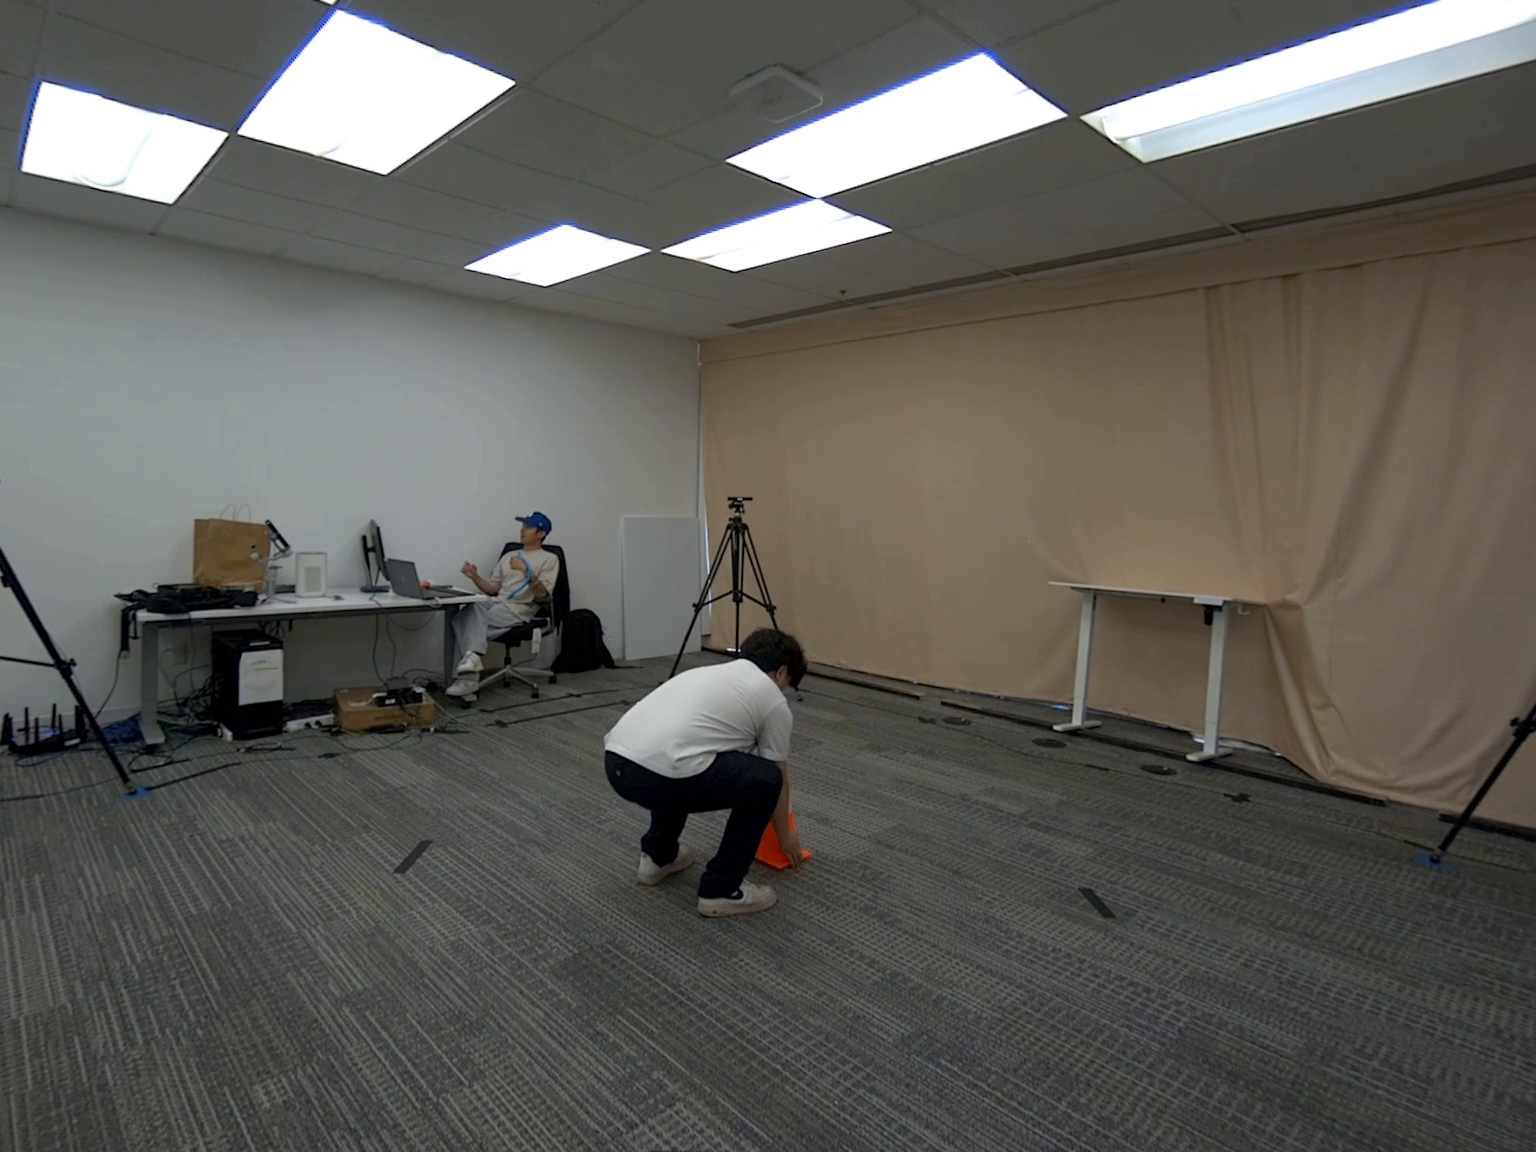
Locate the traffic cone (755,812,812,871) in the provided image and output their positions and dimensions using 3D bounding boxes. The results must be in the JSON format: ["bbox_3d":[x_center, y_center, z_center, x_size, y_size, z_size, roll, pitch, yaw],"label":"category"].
[{"bbox_3d":[0.031,0.890,3.258,0.198,0.383,0.210,-1,3,-44],"label":"traffic cone"}]
